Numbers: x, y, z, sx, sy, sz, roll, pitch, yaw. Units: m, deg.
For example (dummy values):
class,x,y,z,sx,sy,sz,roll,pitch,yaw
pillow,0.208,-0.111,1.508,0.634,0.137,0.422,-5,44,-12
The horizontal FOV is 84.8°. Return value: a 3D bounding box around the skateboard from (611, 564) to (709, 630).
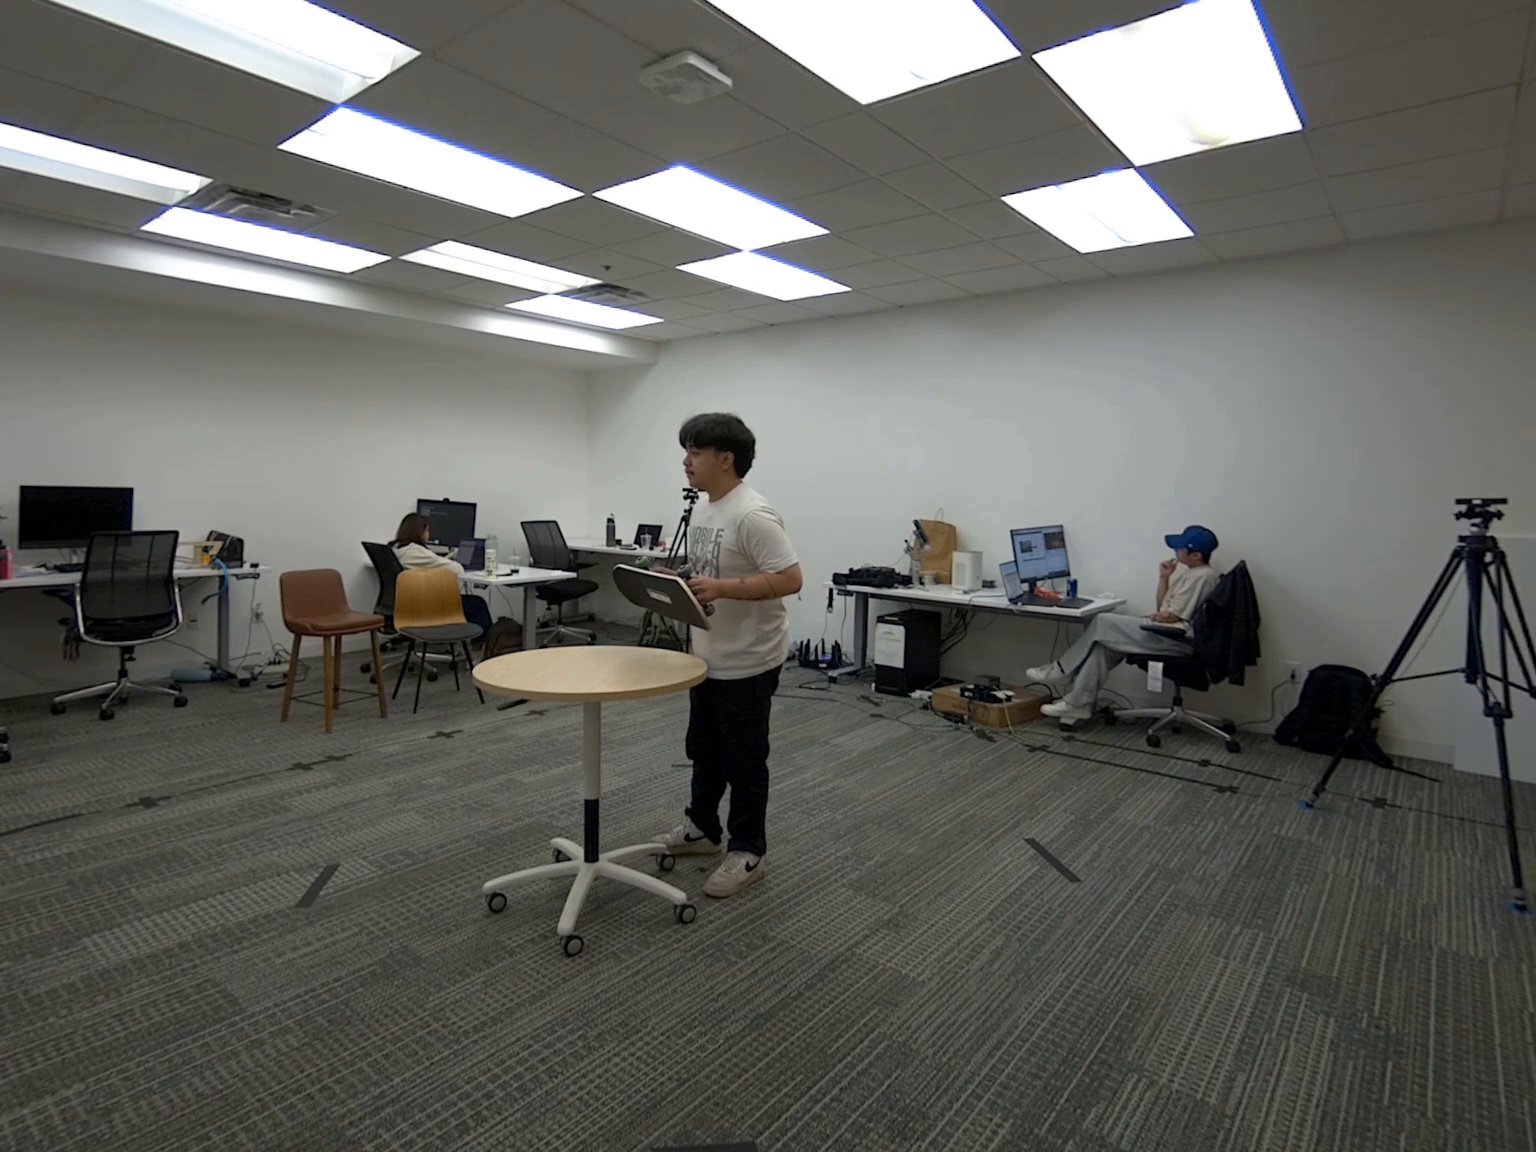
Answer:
class,x,y,z,sx,sy,sz,roll,pitch,yaw
skateboard,-0.372,0.047,2.930,0.109,0.189,0.807,-33,18,-21
